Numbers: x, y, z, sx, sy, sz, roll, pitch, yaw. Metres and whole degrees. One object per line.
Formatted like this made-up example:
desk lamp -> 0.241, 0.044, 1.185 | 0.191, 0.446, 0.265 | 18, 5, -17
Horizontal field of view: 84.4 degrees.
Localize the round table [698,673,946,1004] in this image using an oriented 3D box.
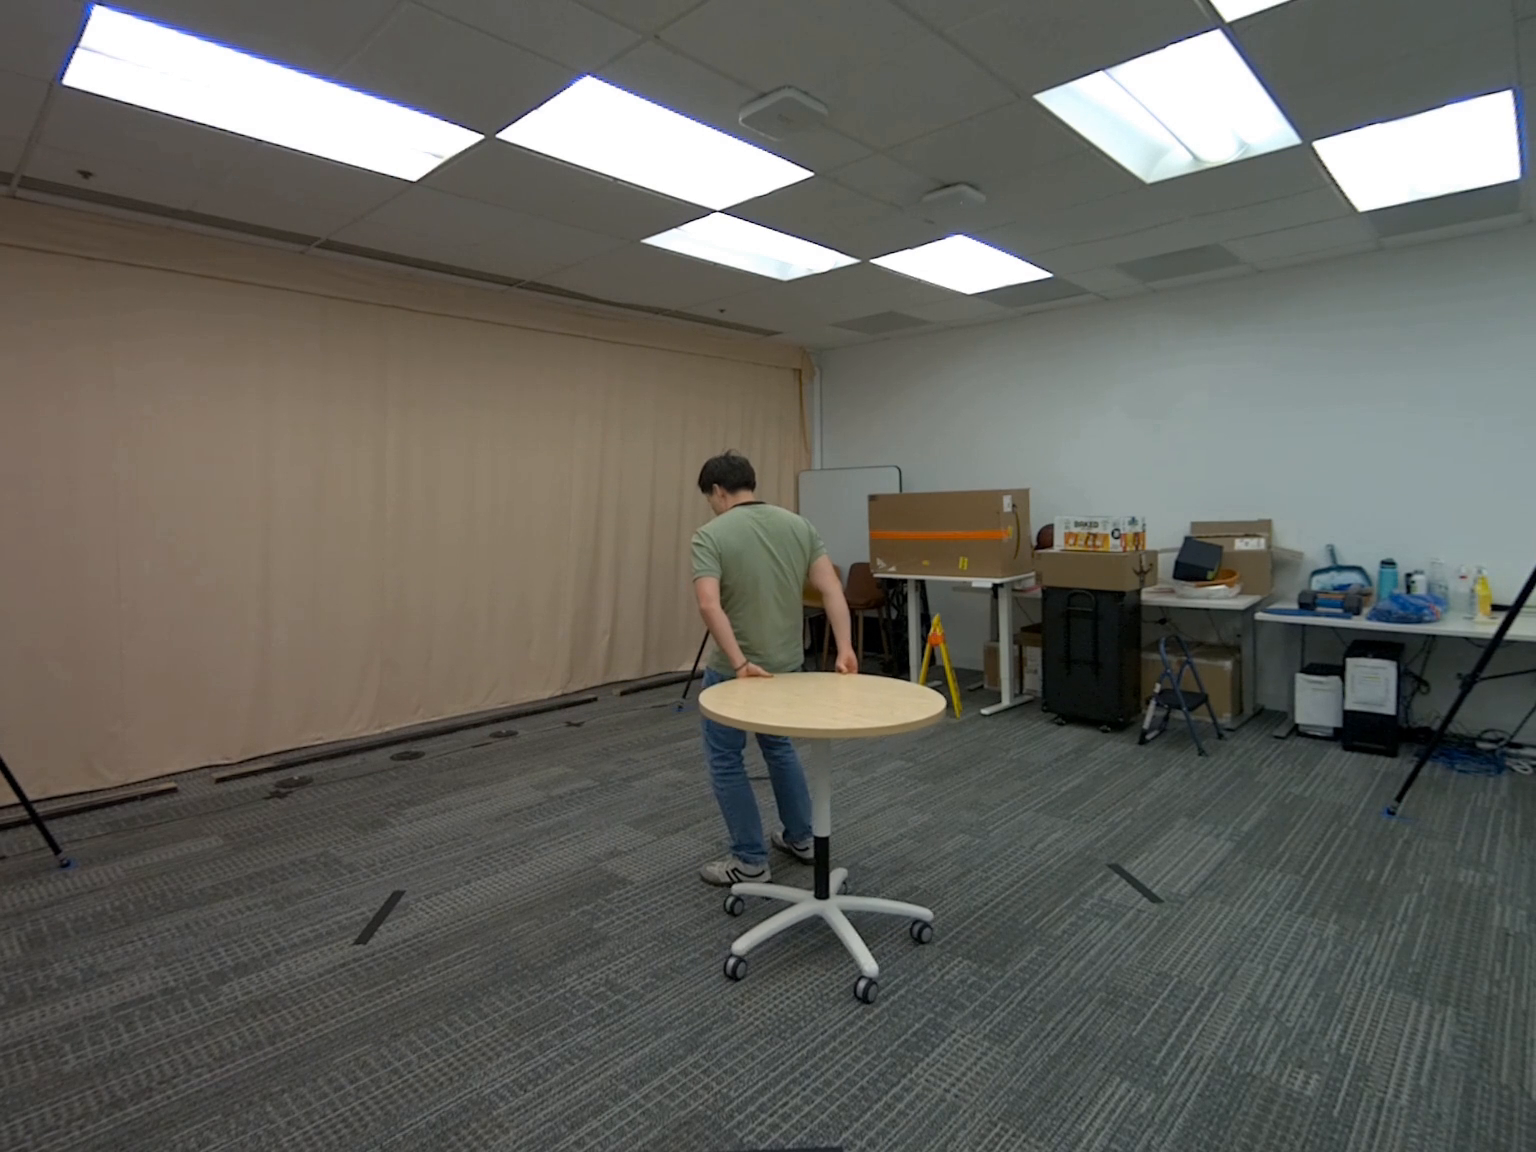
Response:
round table -> 0.174, 0.773, 2.671 | 0.763, 0.792, 0.767 | -1, 4, -2
